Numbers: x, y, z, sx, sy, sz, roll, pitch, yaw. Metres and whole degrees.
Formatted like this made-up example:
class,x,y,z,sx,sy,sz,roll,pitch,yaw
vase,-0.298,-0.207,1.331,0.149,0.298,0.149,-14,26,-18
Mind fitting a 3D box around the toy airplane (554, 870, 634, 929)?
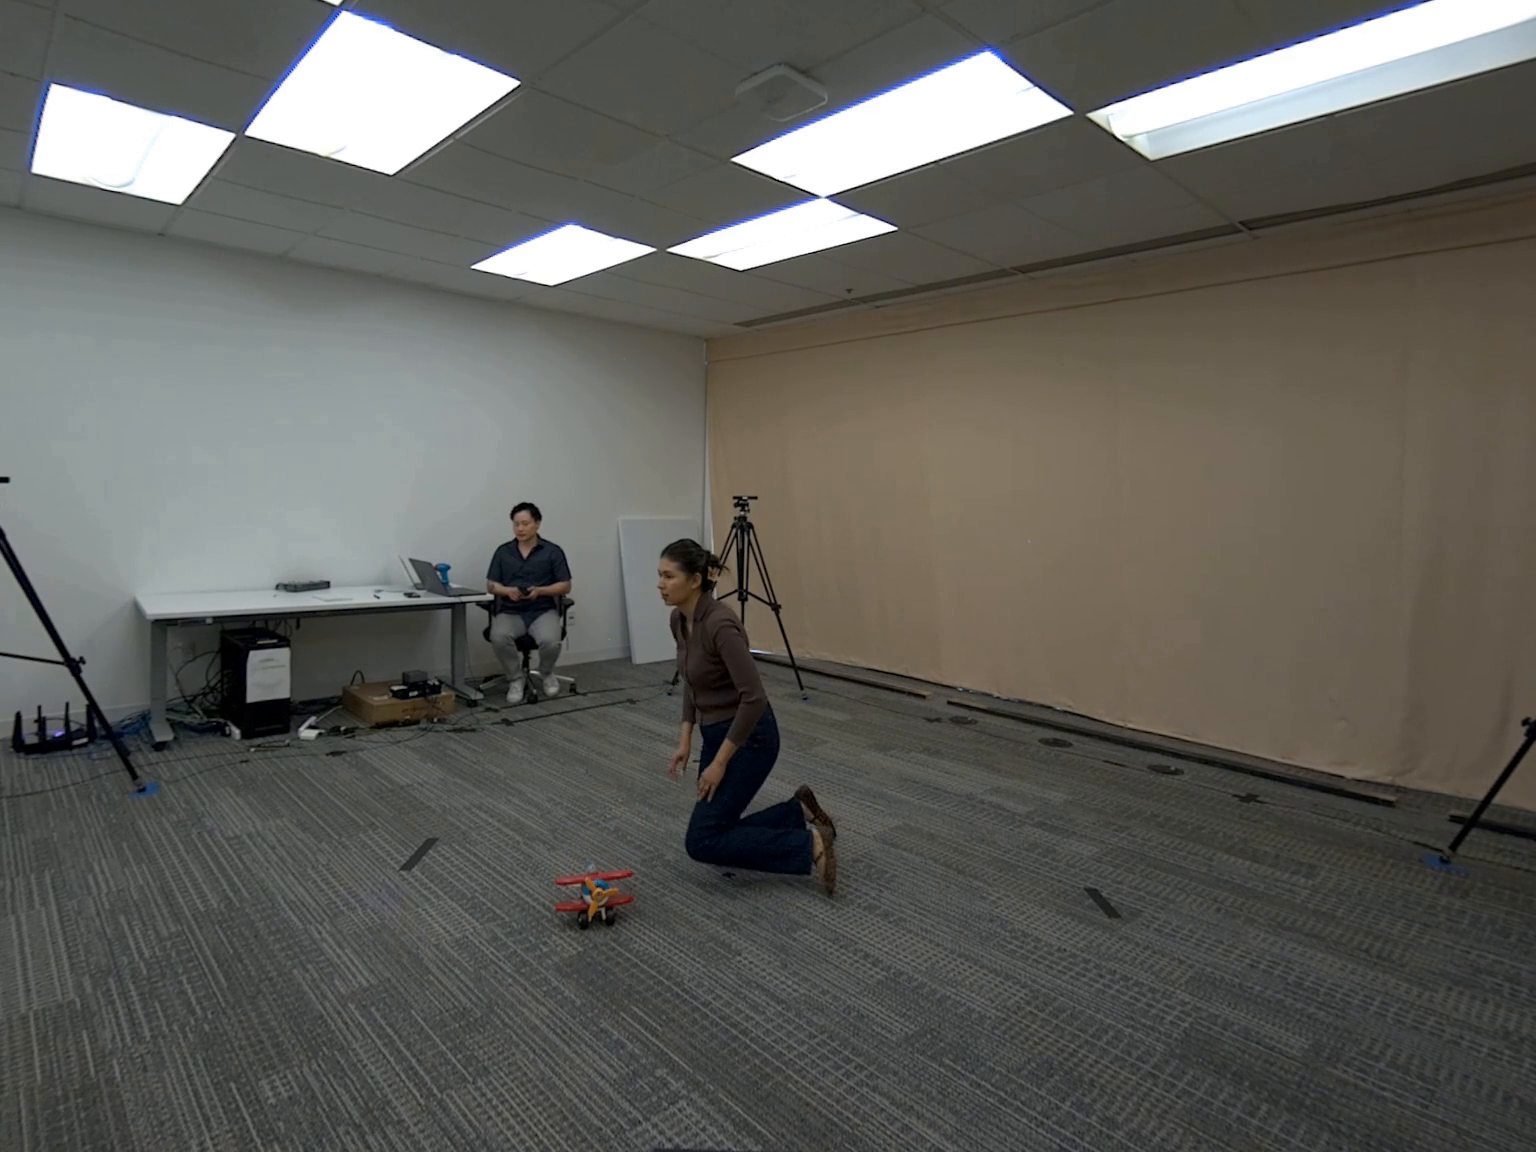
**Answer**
class,x,y,z,sx,sy,sz,roll,pitch,yaw
toy airplane,-0.605,1.050,2.782,0.266,0.156,0.245,7,8,43
